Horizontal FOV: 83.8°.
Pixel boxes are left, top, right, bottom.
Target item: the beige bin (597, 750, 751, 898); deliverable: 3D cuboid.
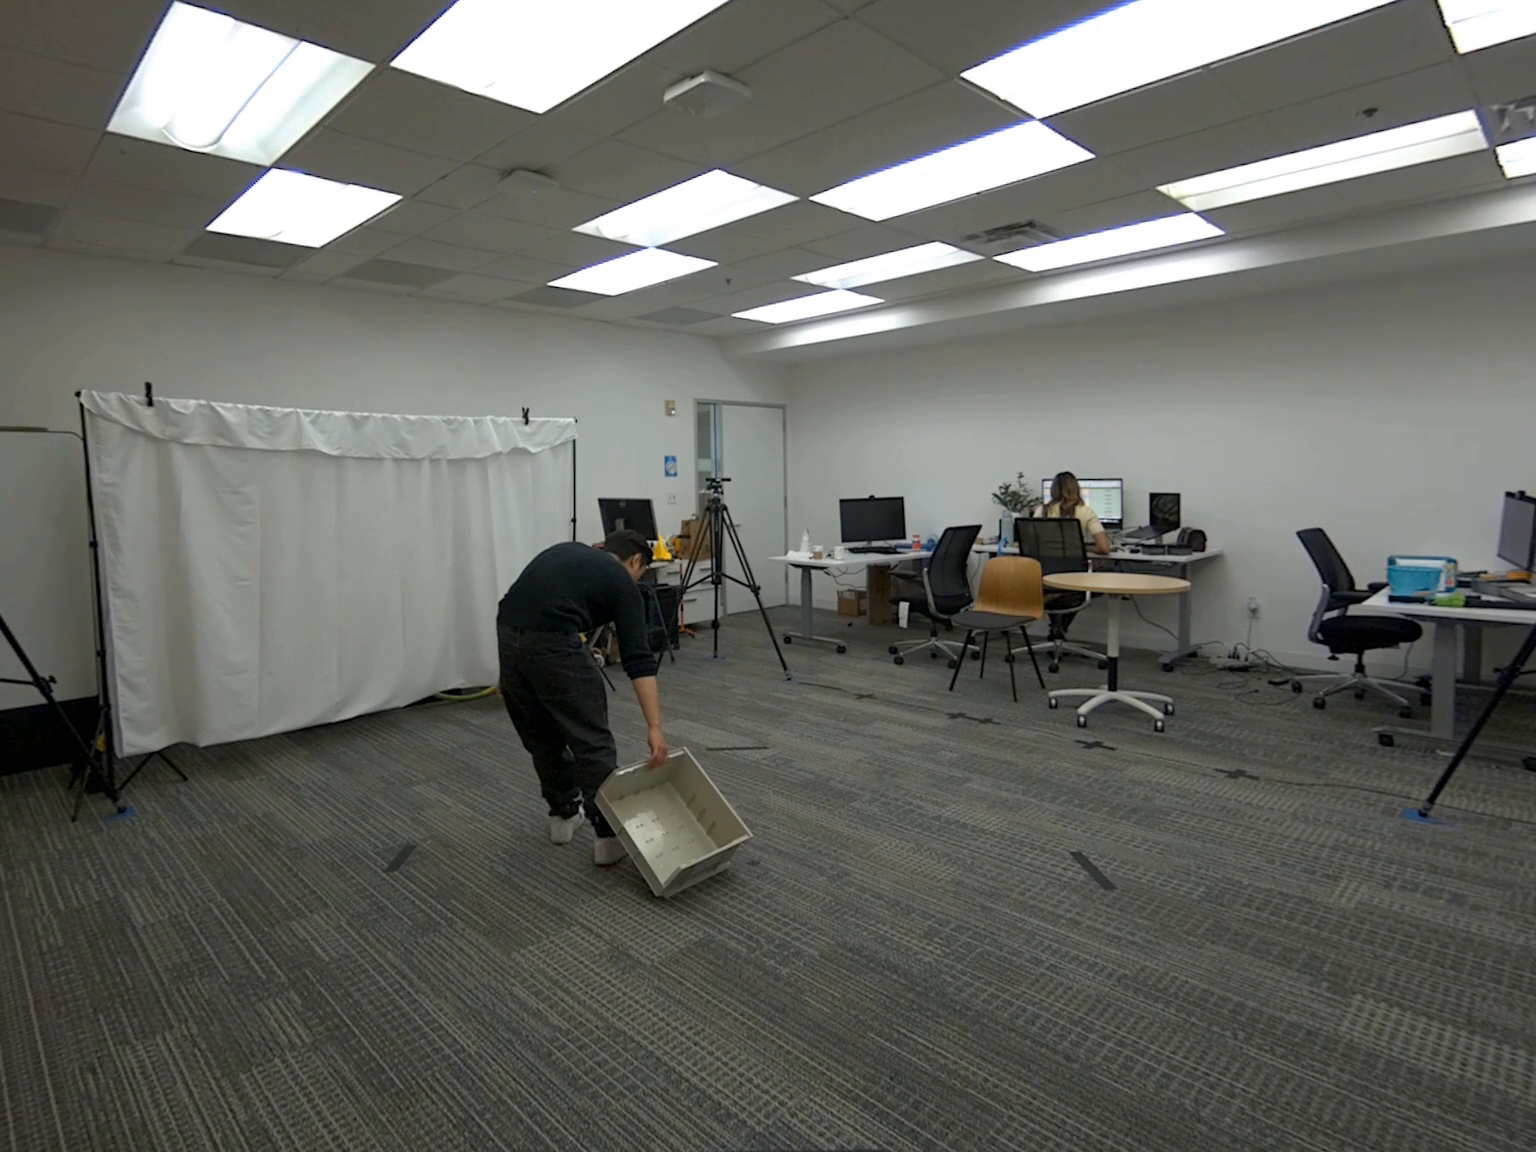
[{"bbox_3d":[-0.338,0.866,3.009,0.367,0.187,0.438,-5,41,-47],"label":"beige bin"}]
